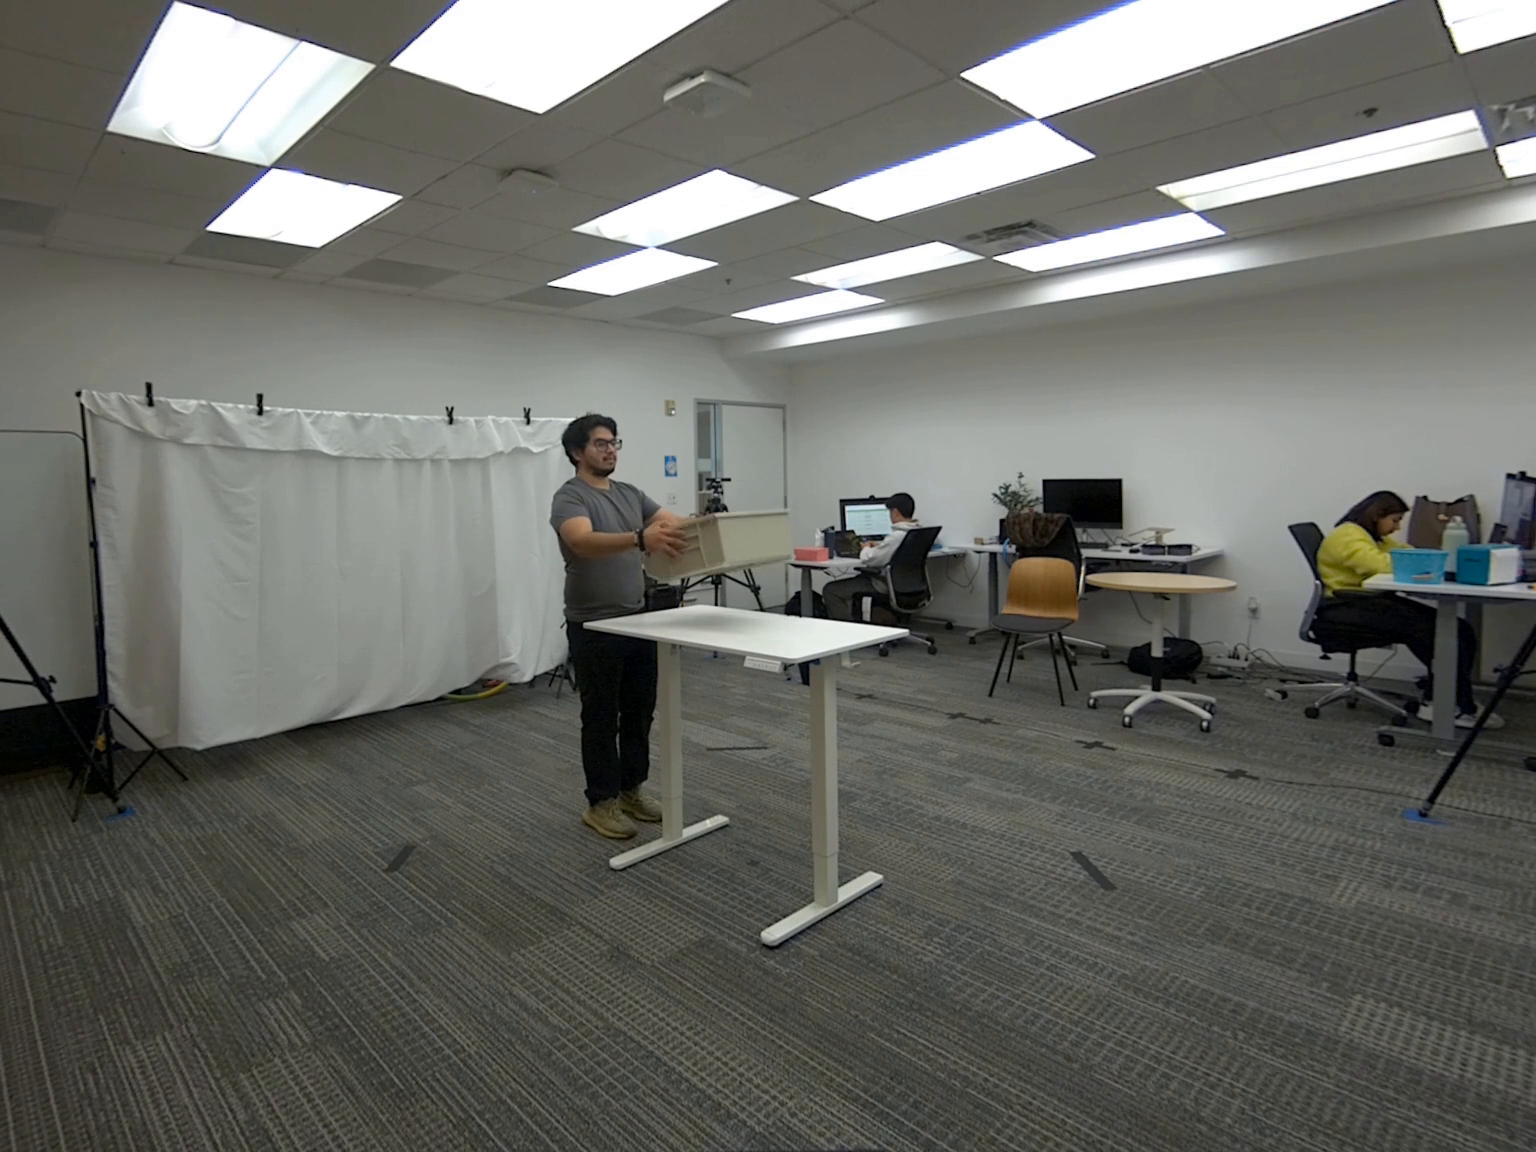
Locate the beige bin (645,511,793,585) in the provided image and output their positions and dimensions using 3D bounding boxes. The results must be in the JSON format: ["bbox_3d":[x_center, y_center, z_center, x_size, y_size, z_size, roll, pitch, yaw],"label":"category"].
[{"bbox_3d":[-0.167,-0.099,3.058,0.386,0.189,0.412,-10,-1,38],"label":"beige bin"}]
